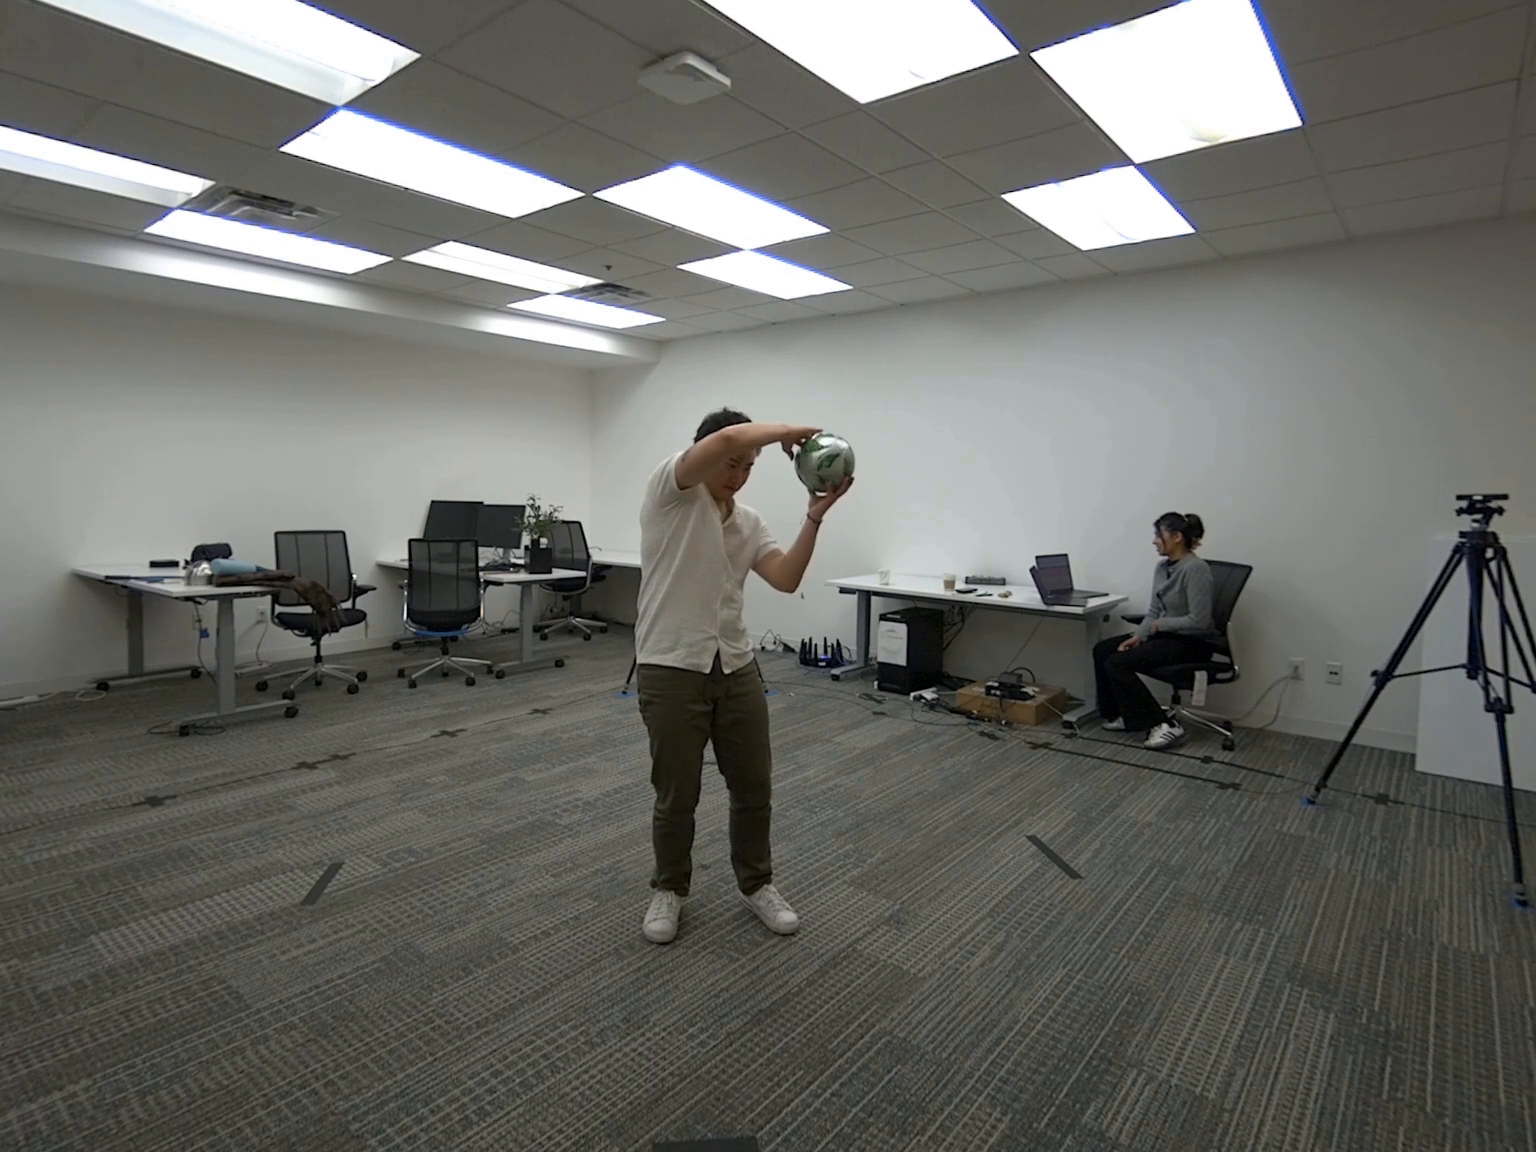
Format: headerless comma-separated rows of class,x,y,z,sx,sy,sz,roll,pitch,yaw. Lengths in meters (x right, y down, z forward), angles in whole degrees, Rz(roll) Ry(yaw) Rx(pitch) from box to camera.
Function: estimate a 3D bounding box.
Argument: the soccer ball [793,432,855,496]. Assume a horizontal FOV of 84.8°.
soccer ball,0.162,-0.346,2.648,0.187,0.187,0.188,1,4,-2
